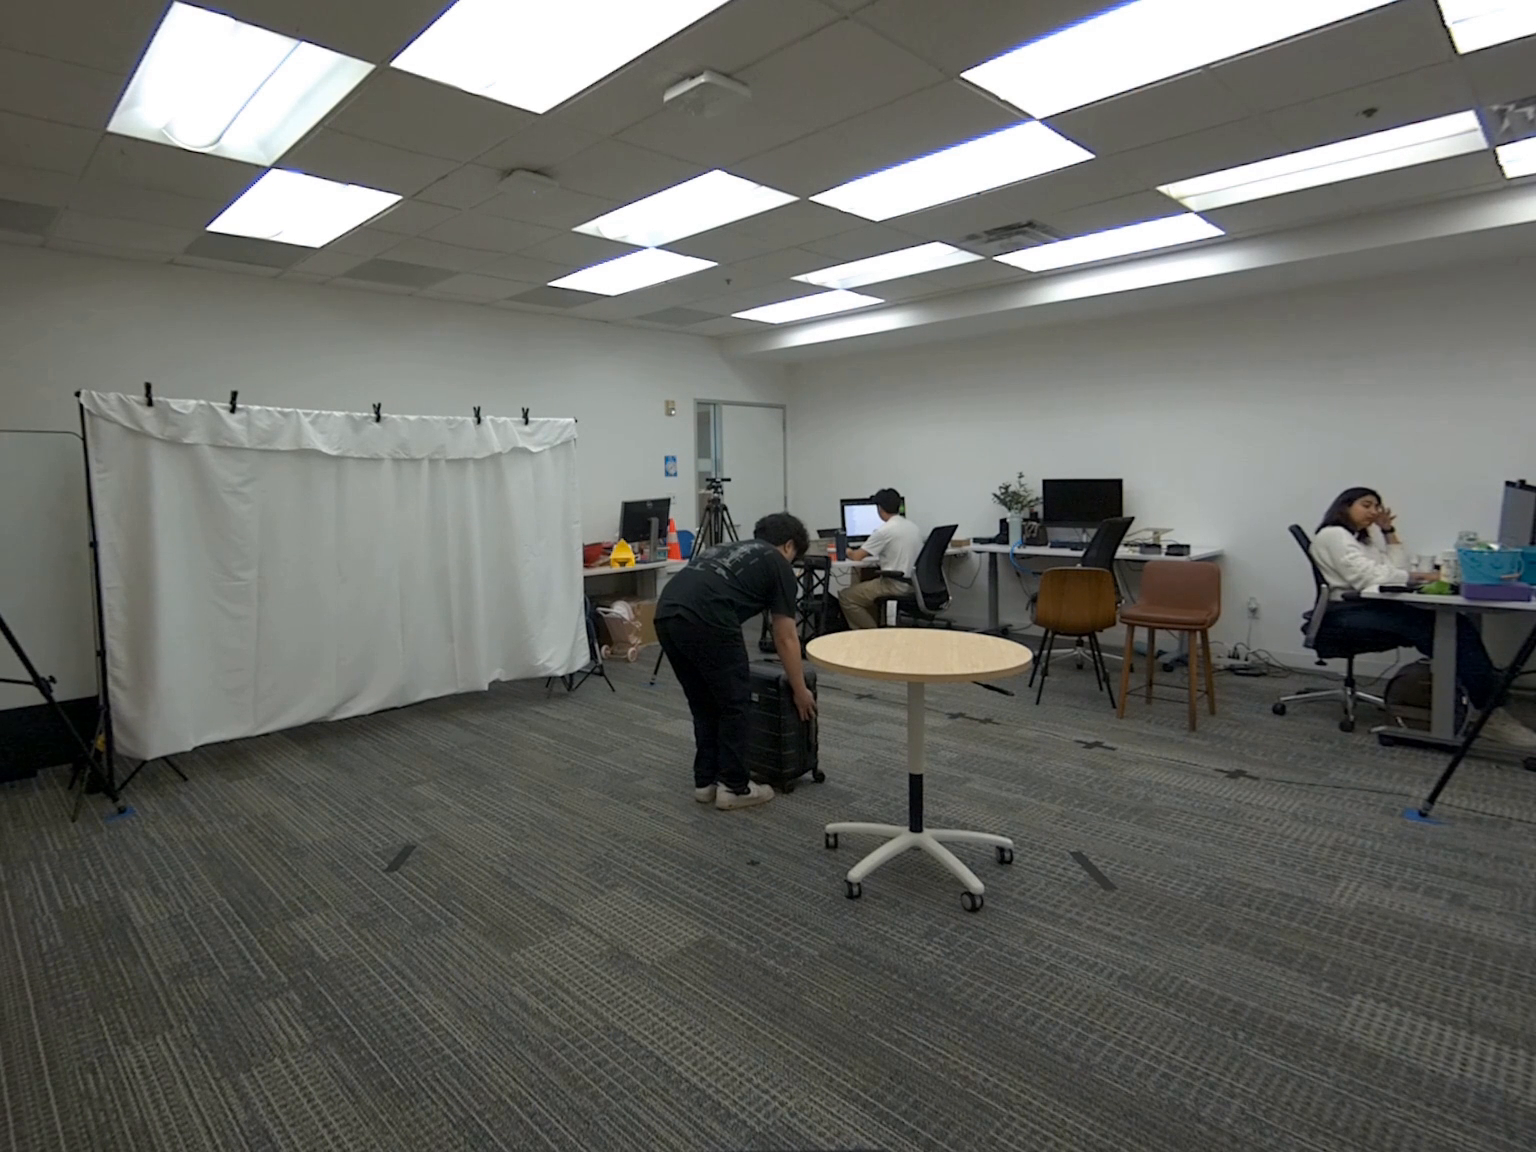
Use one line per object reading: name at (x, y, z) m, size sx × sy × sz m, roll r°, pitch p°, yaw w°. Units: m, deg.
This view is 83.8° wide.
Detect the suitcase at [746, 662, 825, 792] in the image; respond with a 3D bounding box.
suitcase at (0.037, 0.672, 3.956) m, size 0.242 × 0.548 × 0.386 m, roll -6°, pitch 5°, yaw -44°
